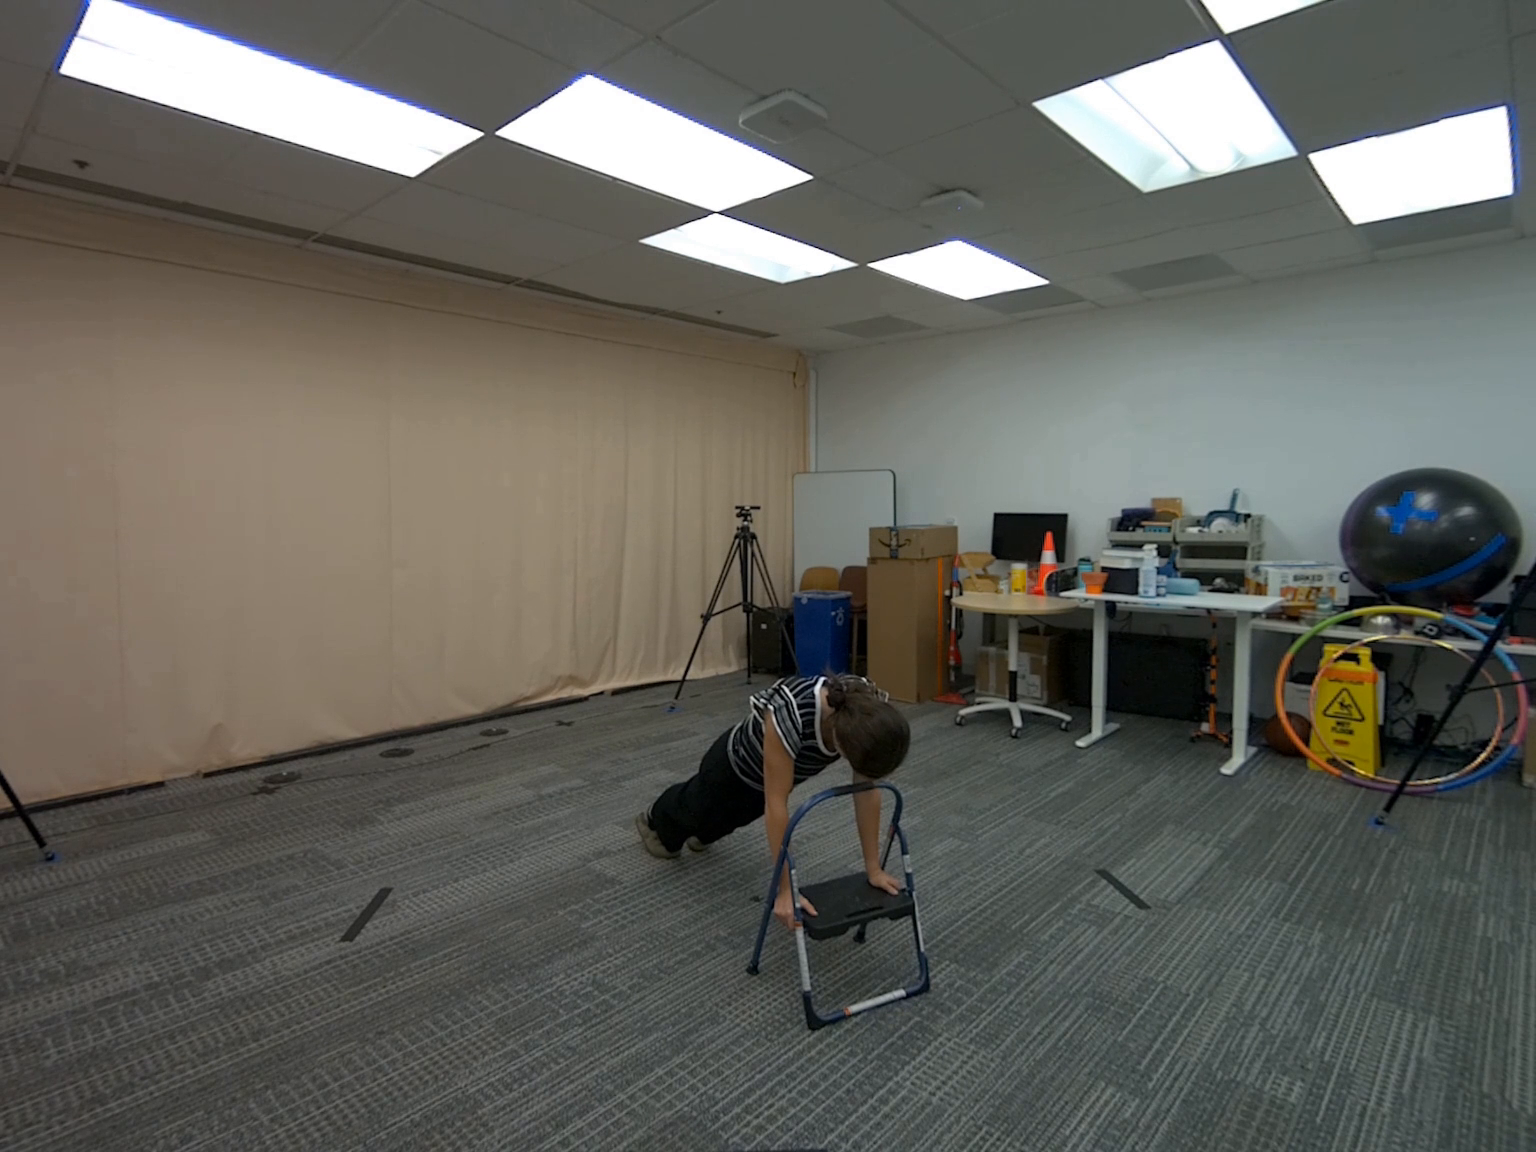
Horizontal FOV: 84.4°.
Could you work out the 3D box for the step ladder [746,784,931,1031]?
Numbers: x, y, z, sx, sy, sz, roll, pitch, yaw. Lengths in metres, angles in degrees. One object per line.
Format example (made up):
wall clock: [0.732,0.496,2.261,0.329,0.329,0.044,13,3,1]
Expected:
step ladder: [0.211,0.888,2.454,0.419,0.604,0.359,-2,4,-30]
